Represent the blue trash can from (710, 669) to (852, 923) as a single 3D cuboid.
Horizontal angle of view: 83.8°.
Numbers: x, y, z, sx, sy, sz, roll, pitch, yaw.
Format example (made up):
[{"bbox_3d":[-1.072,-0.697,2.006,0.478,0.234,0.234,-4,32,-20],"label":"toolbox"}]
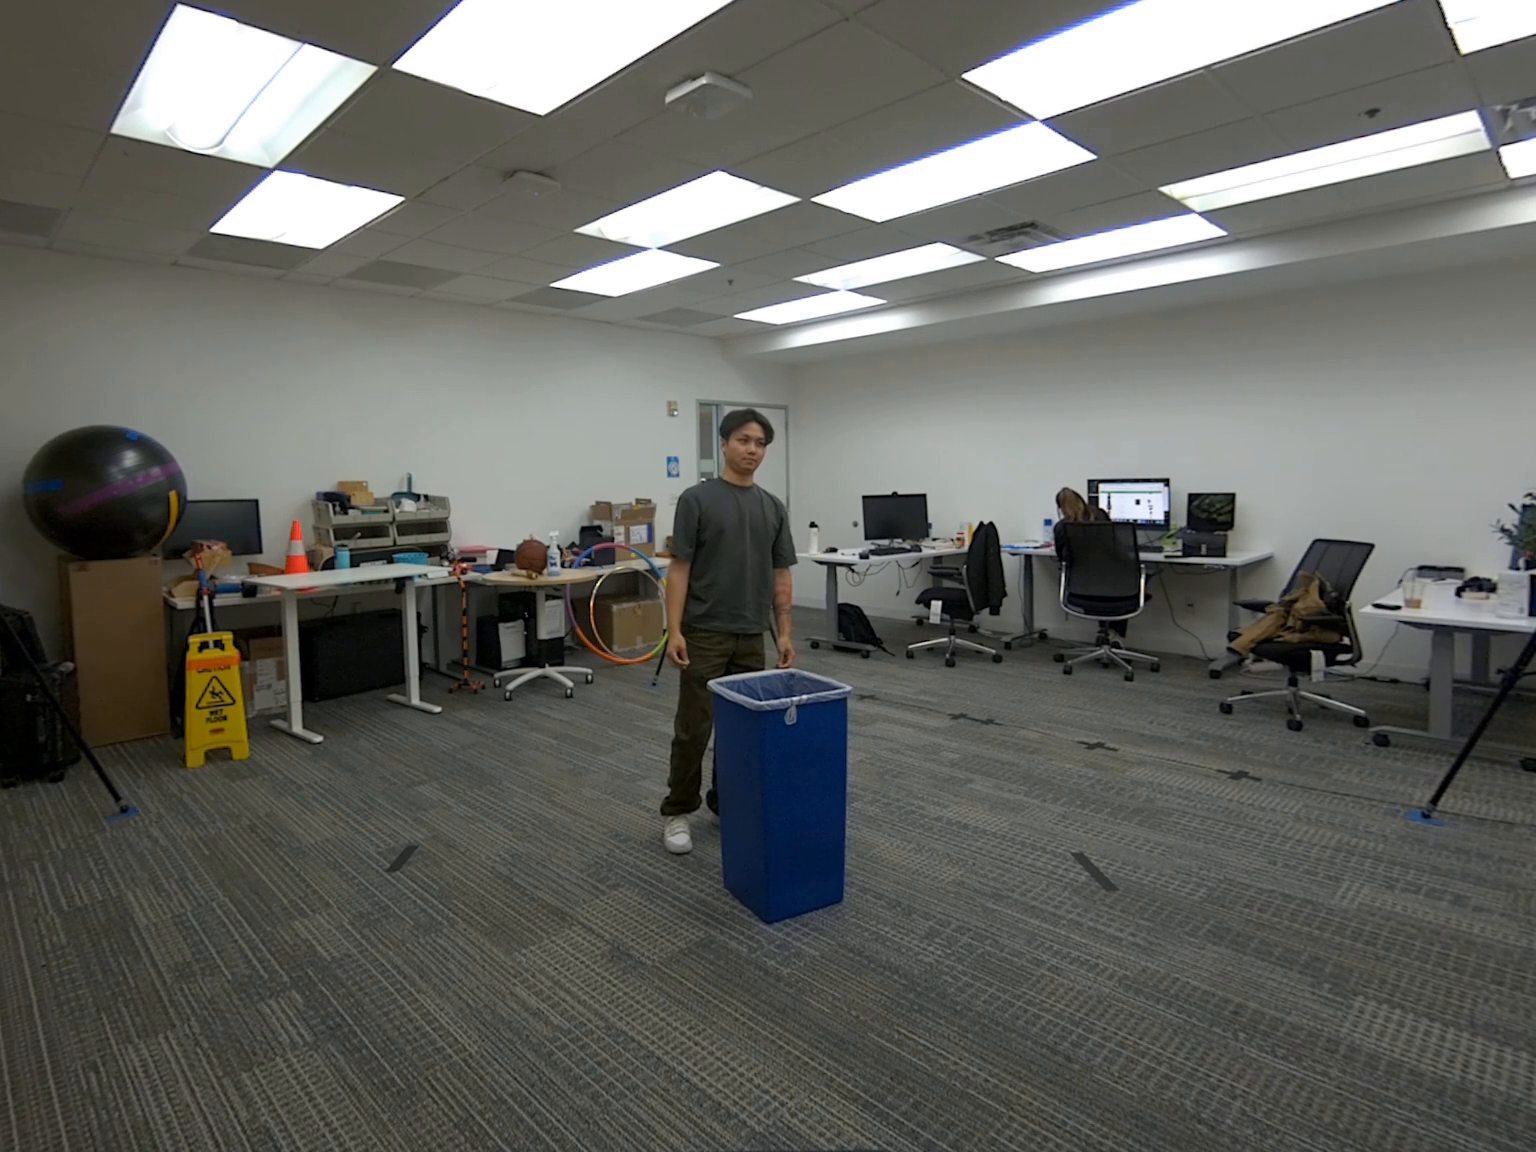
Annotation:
[{"bbox_3d":[0.048,0.713,2.863,0.365,0.711,0.388,-4,5,-31],"label":"blue trash can"}]
